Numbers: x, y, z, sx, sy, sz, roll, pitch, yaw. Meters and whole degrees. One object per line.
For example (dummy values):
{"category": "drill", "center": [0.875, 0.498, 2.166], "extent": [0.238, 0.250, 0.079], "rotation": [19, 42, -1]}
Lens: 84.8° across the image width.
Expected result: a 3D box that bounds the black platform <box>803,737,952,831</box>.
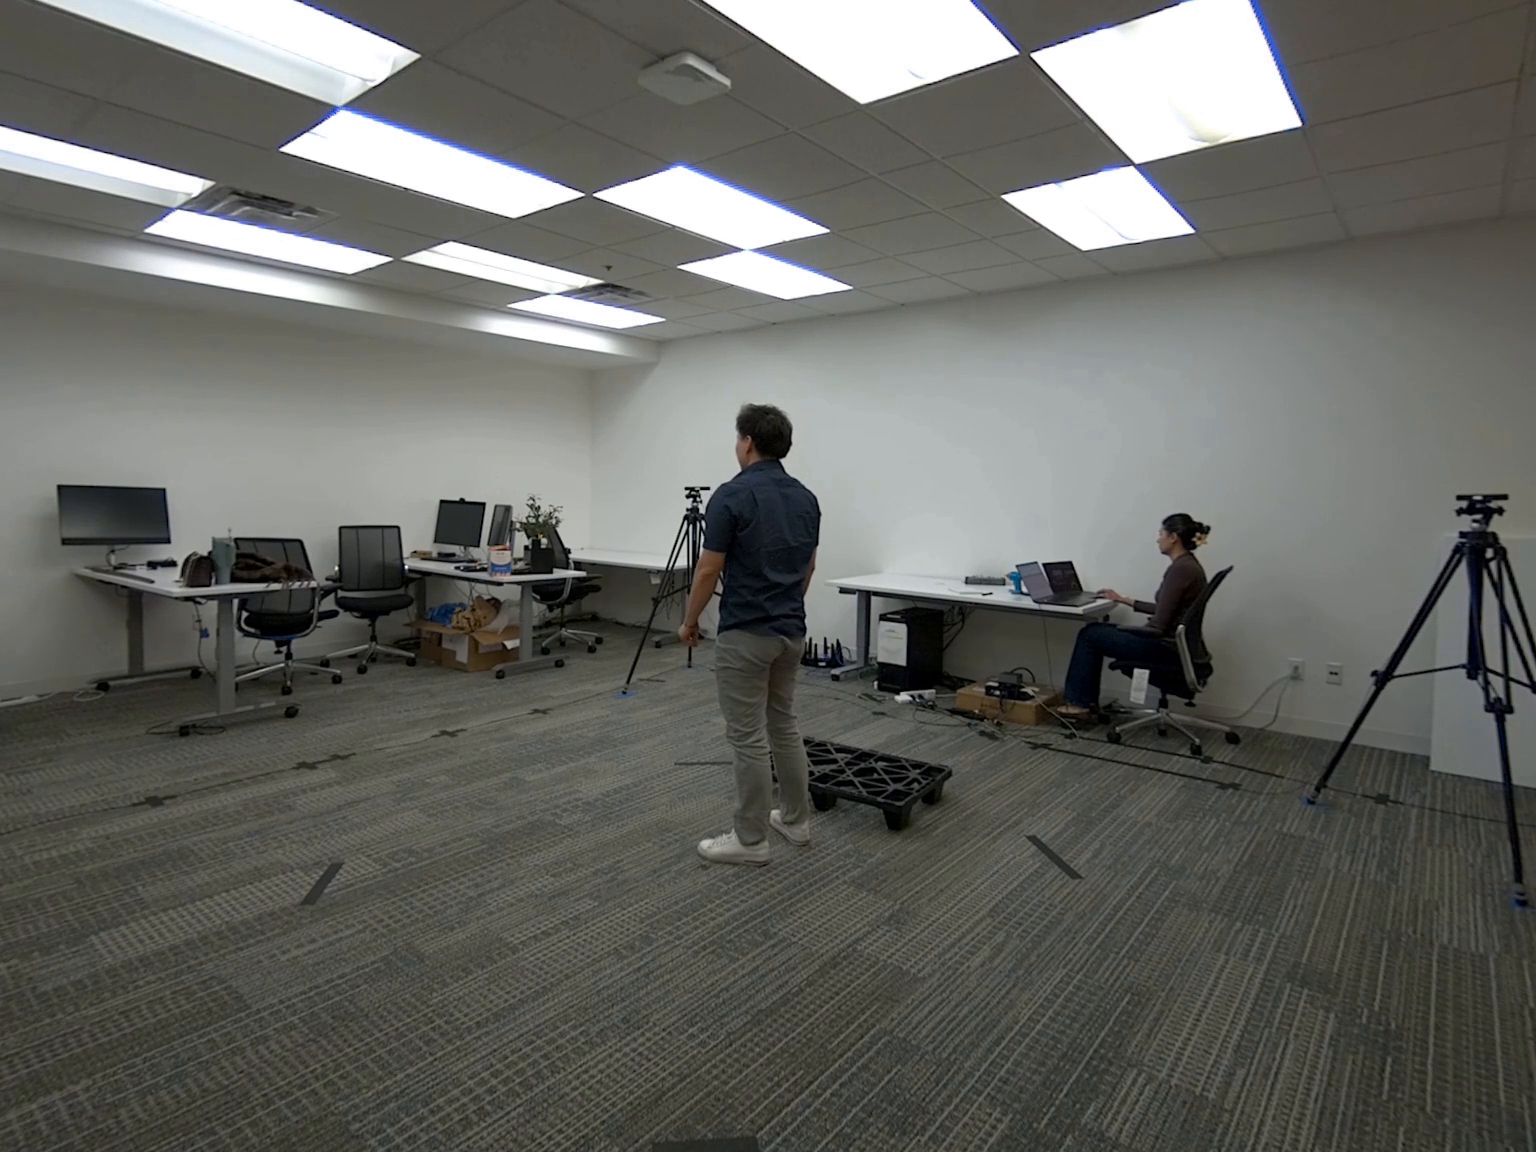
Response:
{"category": "black platform", "center": [0.344, 0.932, 3.887], "extent": [0.831, 0.143, 0.588], "rotation": [5, 6, 34]}
